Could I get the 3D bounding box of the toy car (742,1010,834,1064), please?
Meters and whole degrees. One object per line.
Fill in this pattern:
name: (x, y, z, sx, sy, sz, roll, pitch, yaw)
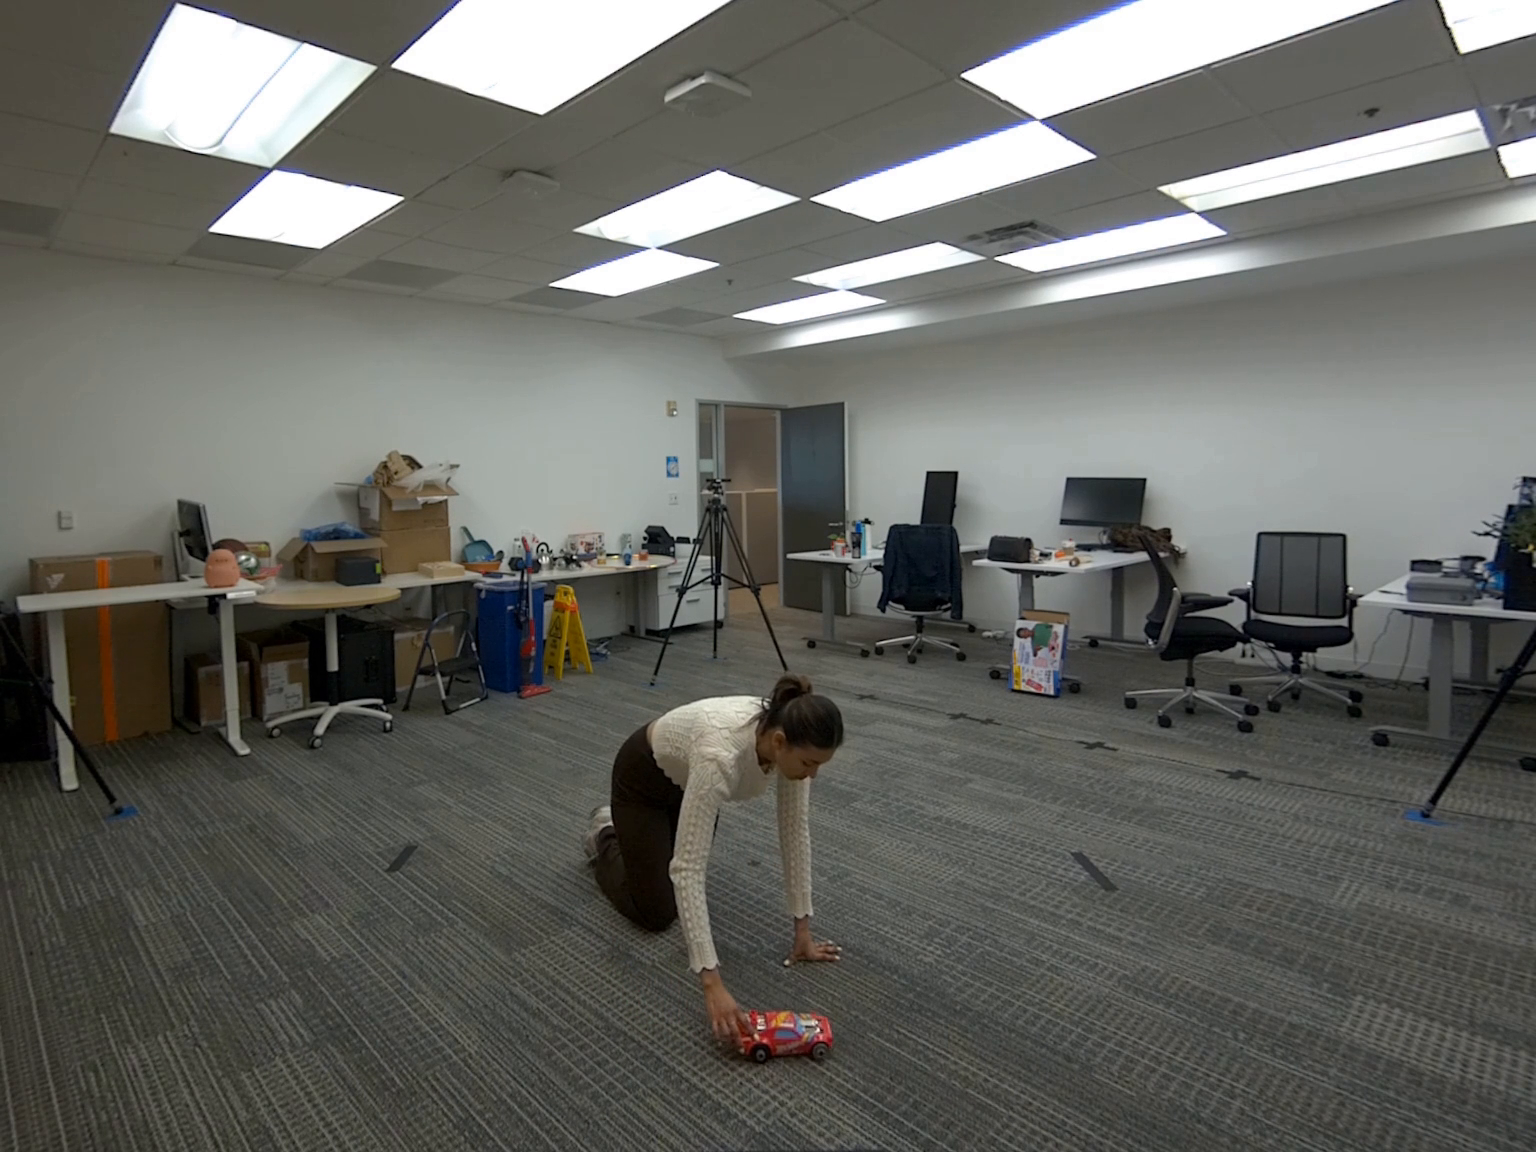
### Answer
toy car: (0.032, 1.129, 2.102, 0.253, 0.083, 0.131, 9, 4, -5)
